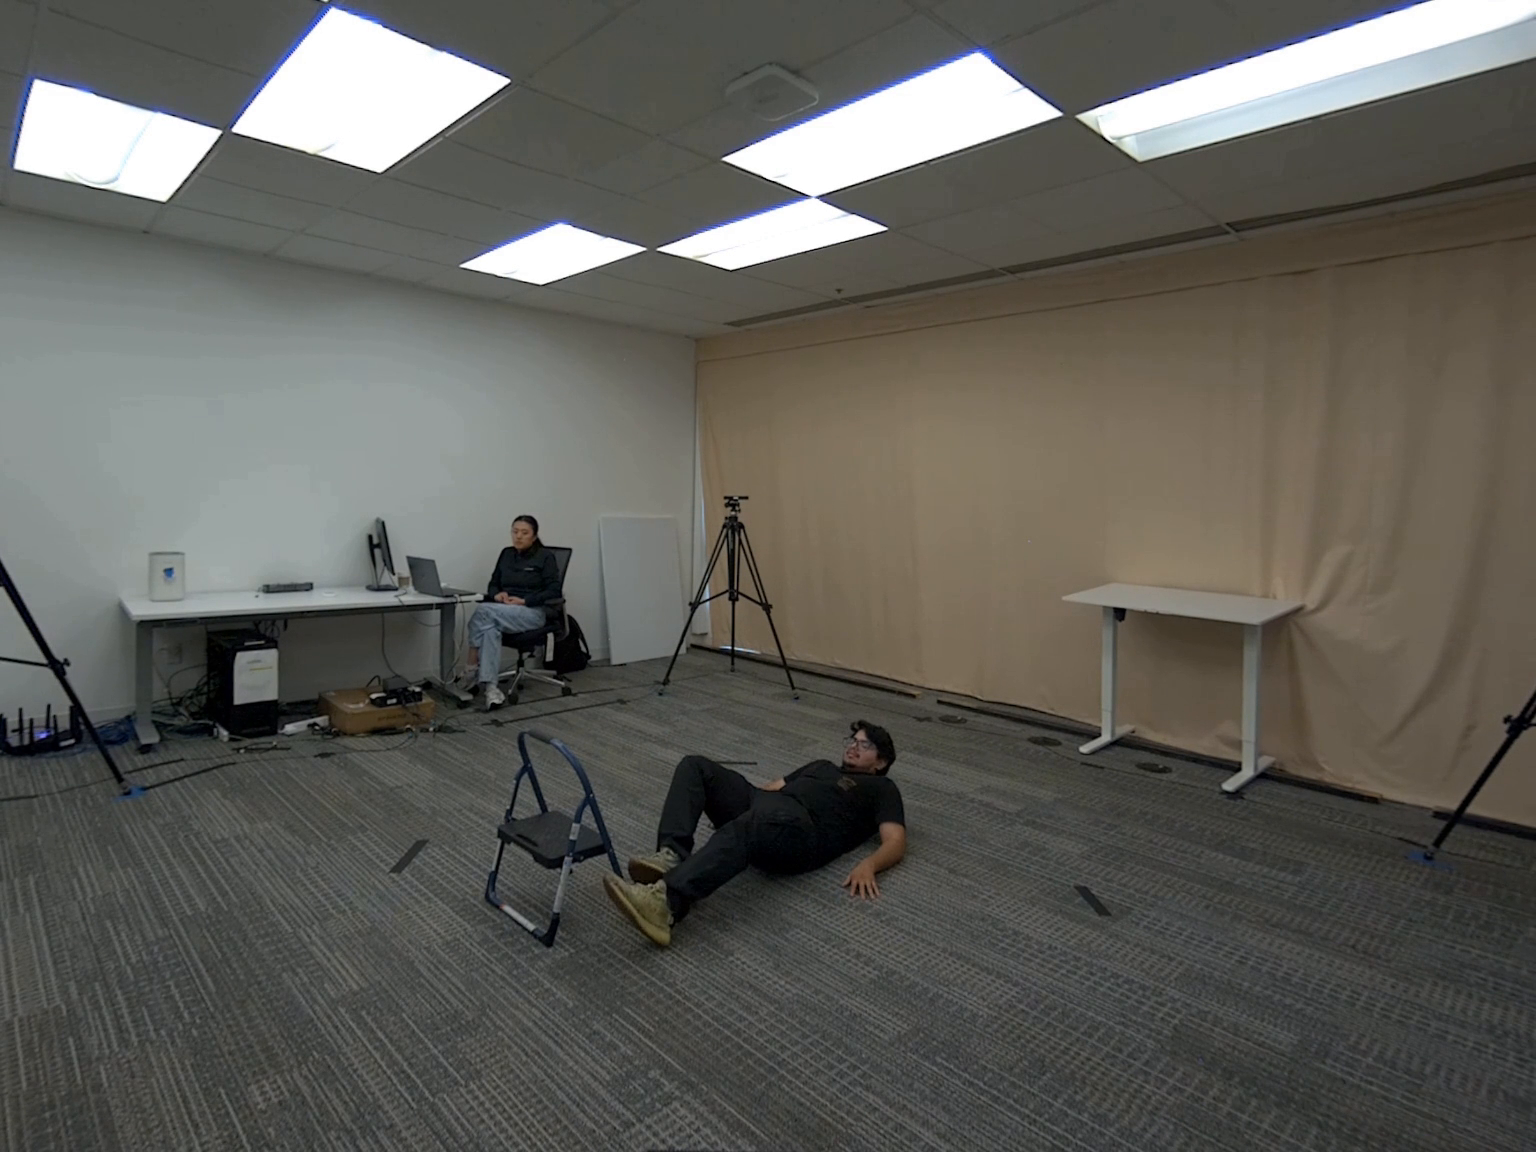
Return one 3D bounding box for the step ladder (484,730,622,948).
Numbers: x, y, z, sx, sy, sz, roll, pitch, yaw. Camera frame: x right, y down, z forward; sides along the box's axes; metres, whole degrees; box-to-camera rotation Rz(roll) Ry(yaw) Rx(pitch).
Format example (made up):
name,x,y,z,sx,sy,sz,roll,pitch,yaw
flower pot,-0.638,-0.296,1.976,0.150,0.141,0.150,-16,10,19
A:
name,x,y,z,sx,sy,sz,roll,pitch,yaw
step ladder,-0.701,0.814,2.824,0.341,0.604,0.441,-3,5,-45
